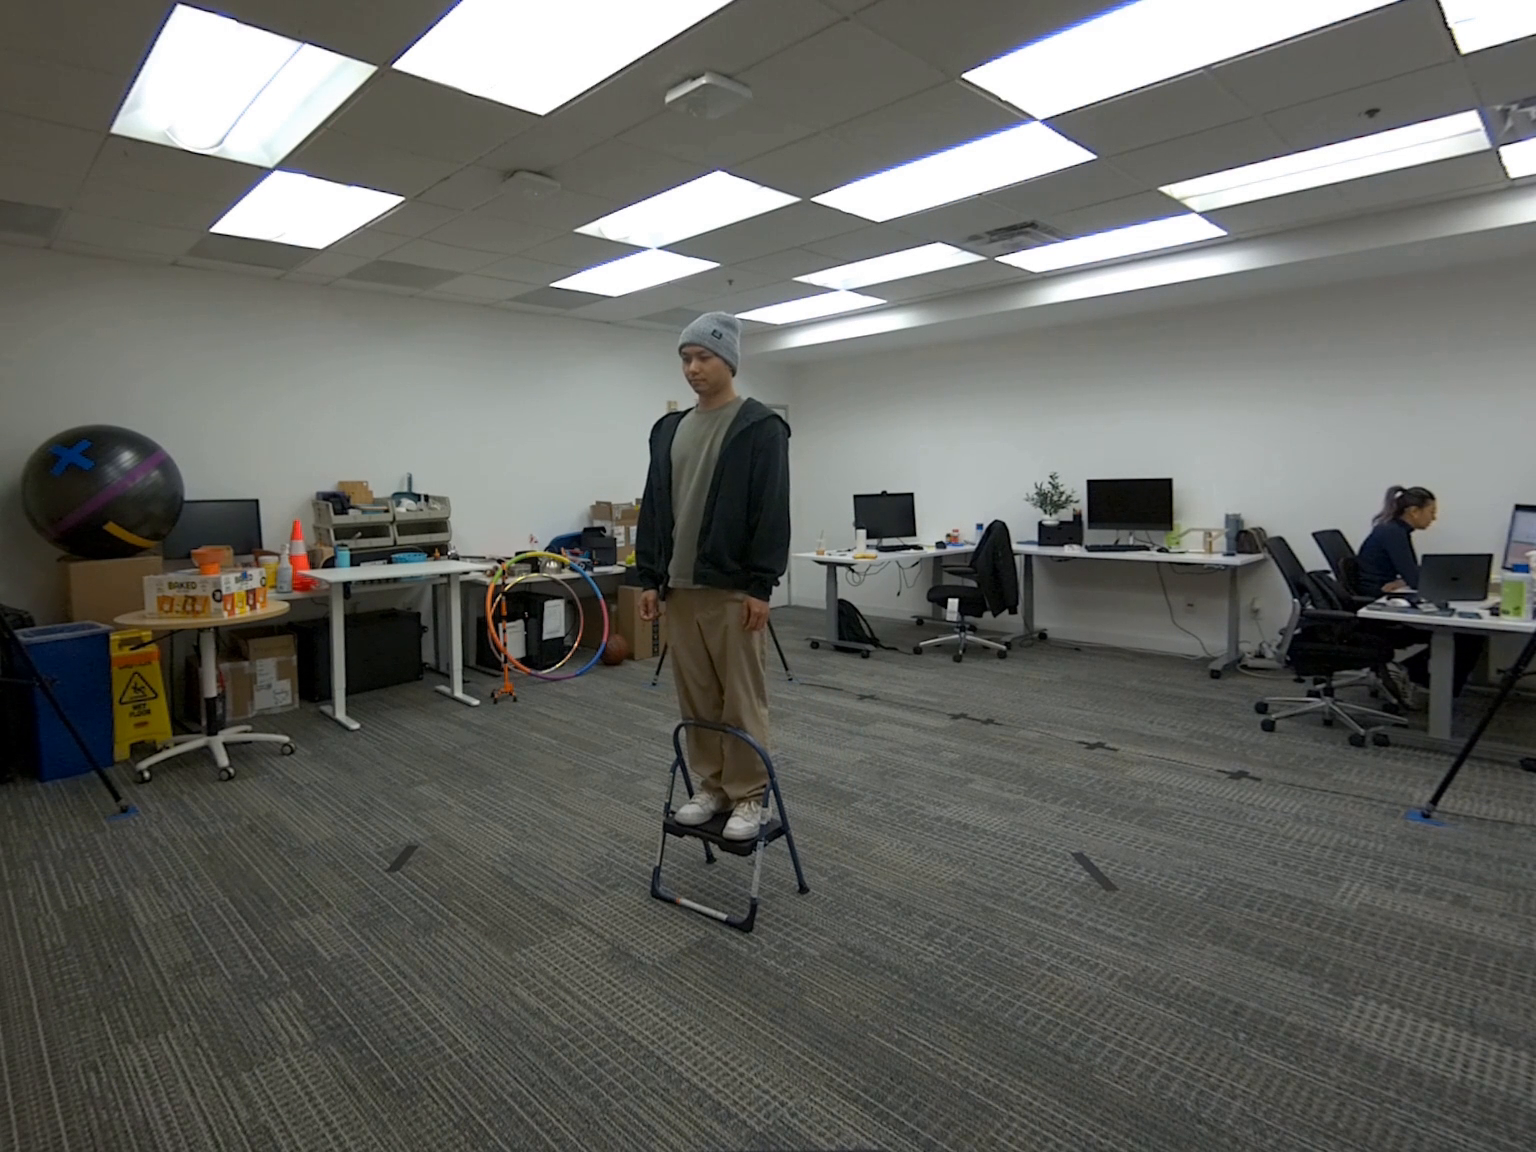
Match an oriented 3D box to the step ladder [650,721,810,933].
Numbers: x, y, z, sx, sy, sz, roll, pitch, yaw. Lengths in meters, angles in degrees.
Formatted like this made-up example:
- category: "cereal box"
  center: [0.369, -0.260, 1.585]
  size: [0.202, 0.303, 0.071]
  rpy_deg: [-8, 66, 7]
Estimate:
- category: "step ladder"
  center: [-0.137, 0.771, 2.863]
  size: [0.443, 0.603, 0.341]
  rpy_deg: [2, 6, 35]
